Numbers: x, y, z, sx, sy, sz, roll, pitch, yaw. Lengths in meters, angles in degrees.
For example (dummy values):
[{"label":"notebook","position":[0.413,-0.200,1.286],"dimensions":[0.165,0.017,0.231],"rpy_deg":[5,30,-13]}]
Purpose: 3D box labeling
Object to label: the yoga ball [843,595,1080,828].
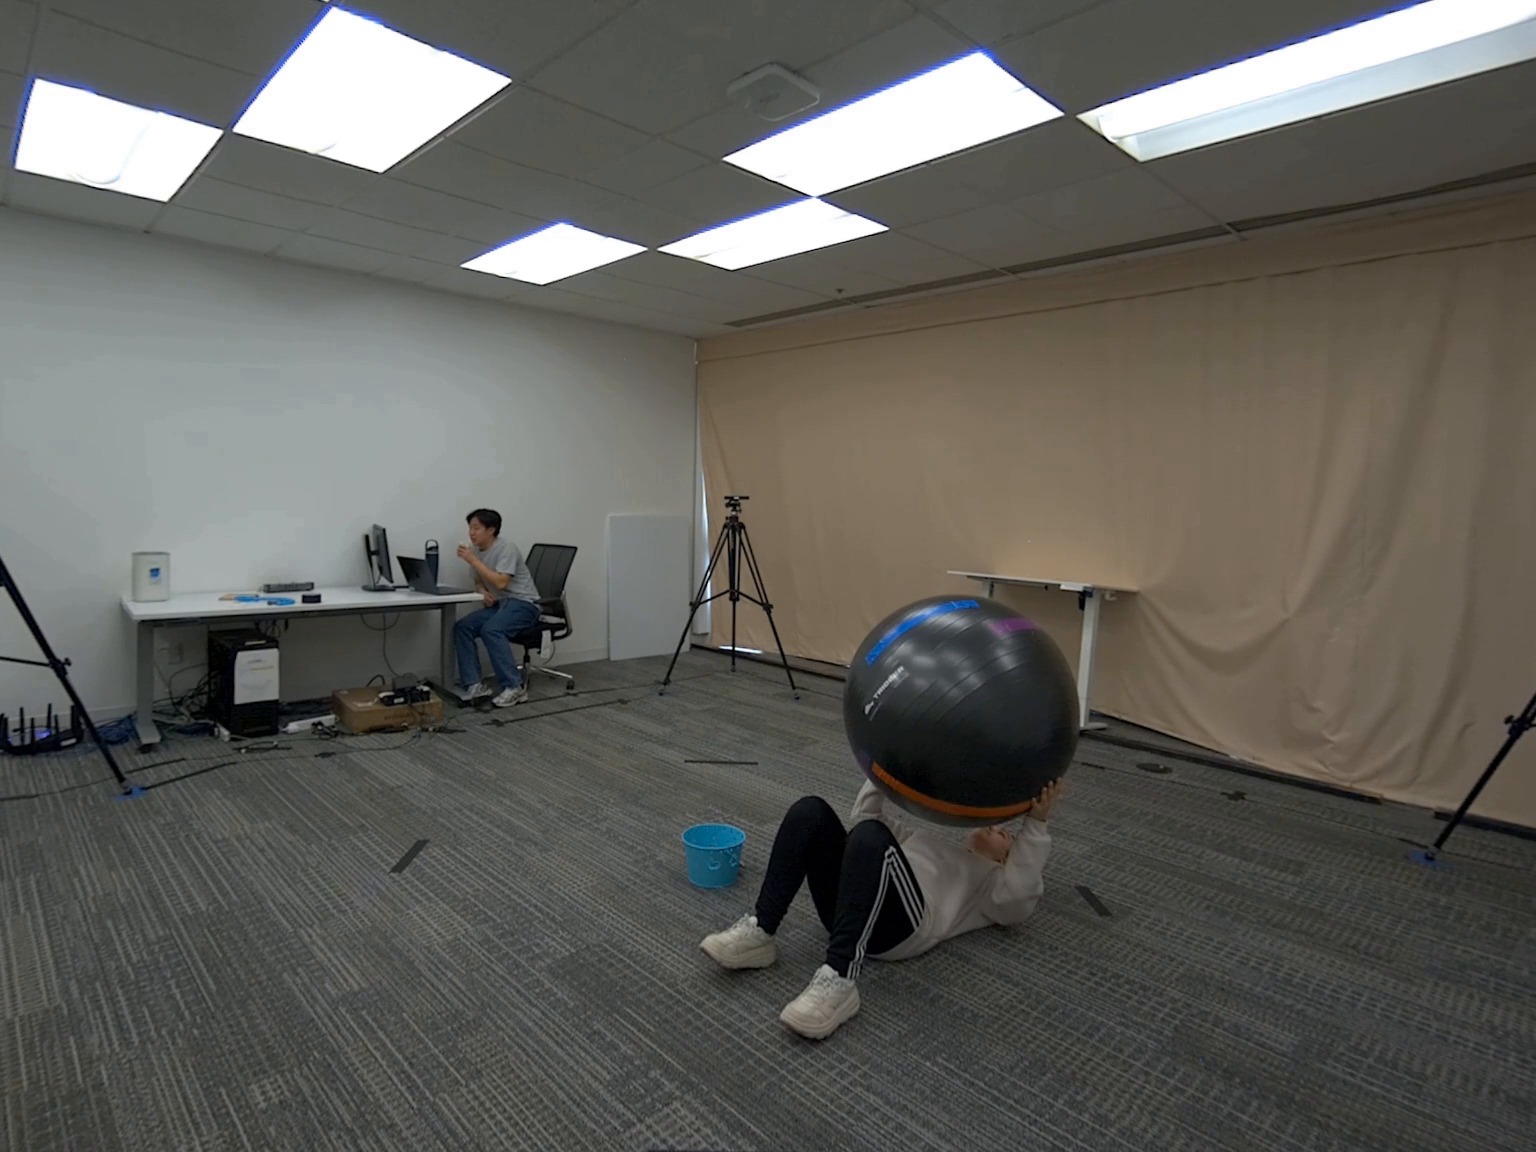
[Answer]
[{"label":"yoga ball","position":[0.630,0.442,2.803],"dimensions":[0.757,0.756,0.761],"rpy_deg":[1,4,-1]}]
